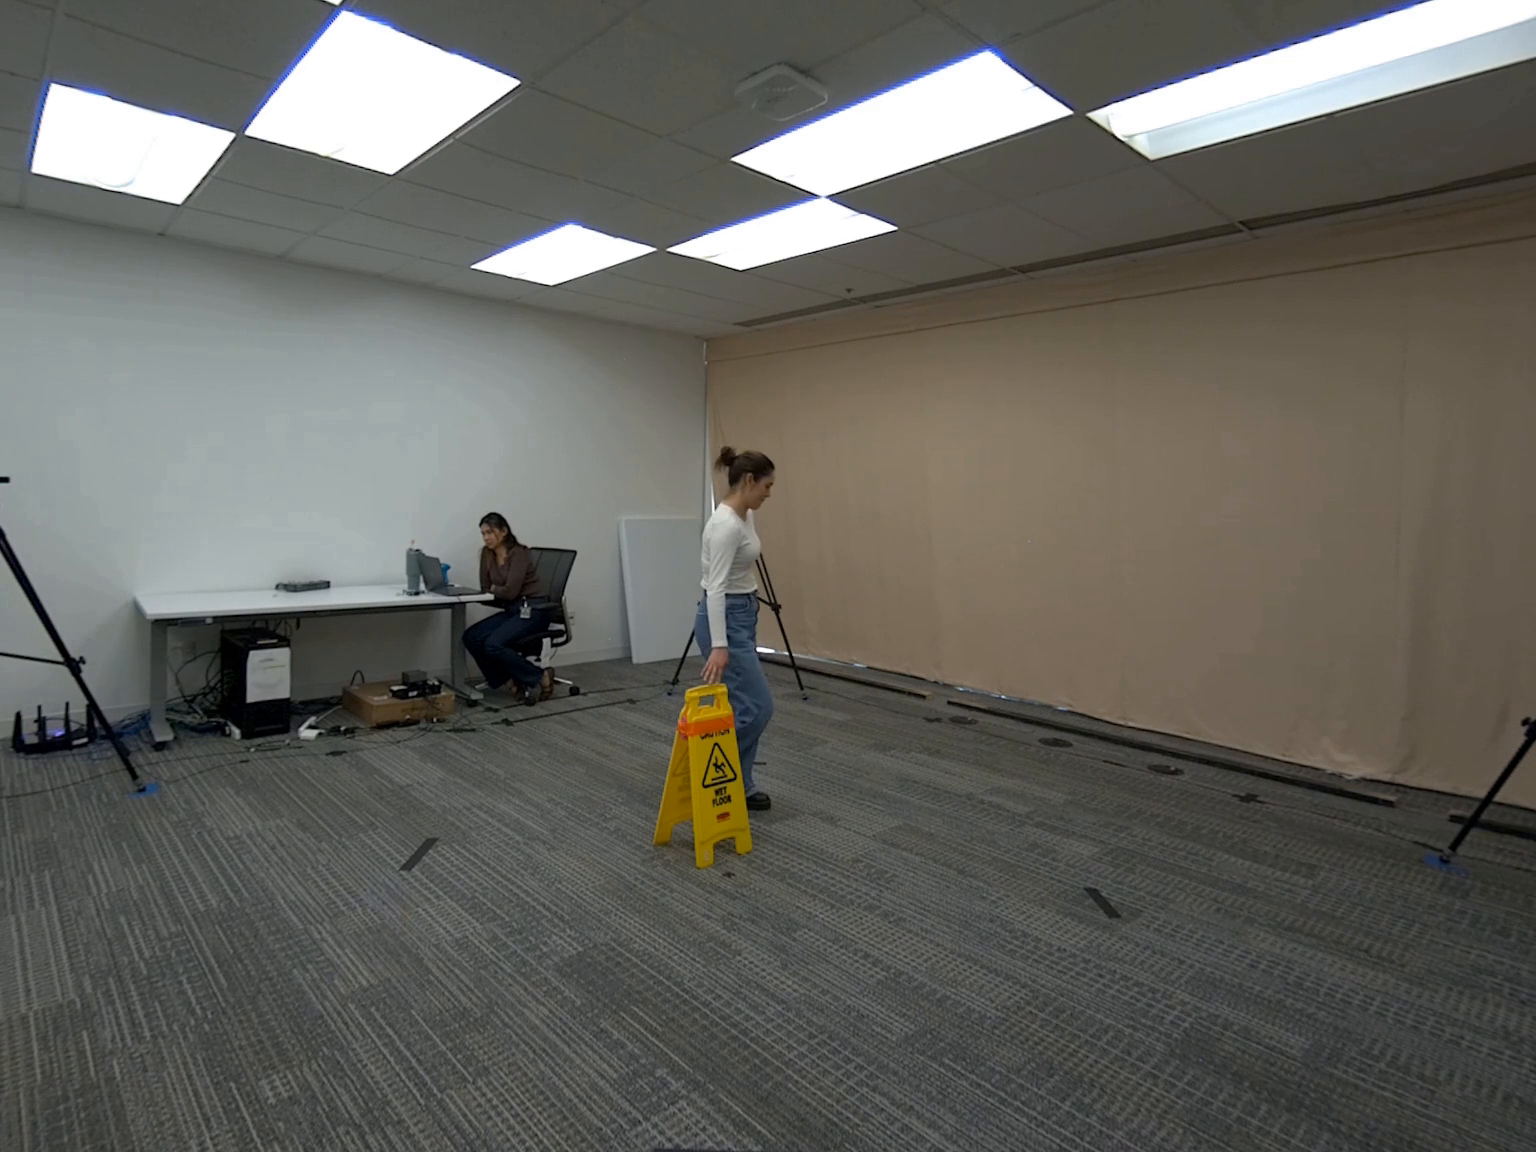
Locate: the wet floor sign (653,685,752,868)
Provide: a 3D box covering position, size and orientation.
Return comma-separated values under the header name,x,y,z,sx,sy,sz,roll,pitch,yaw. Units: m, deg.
name,x,y,z,sx,sy,sz,roll,pitch,yaw
wet floor sign,-0.264,0.757,3.324,0.276,0.645,0.297,-1,4,-44
